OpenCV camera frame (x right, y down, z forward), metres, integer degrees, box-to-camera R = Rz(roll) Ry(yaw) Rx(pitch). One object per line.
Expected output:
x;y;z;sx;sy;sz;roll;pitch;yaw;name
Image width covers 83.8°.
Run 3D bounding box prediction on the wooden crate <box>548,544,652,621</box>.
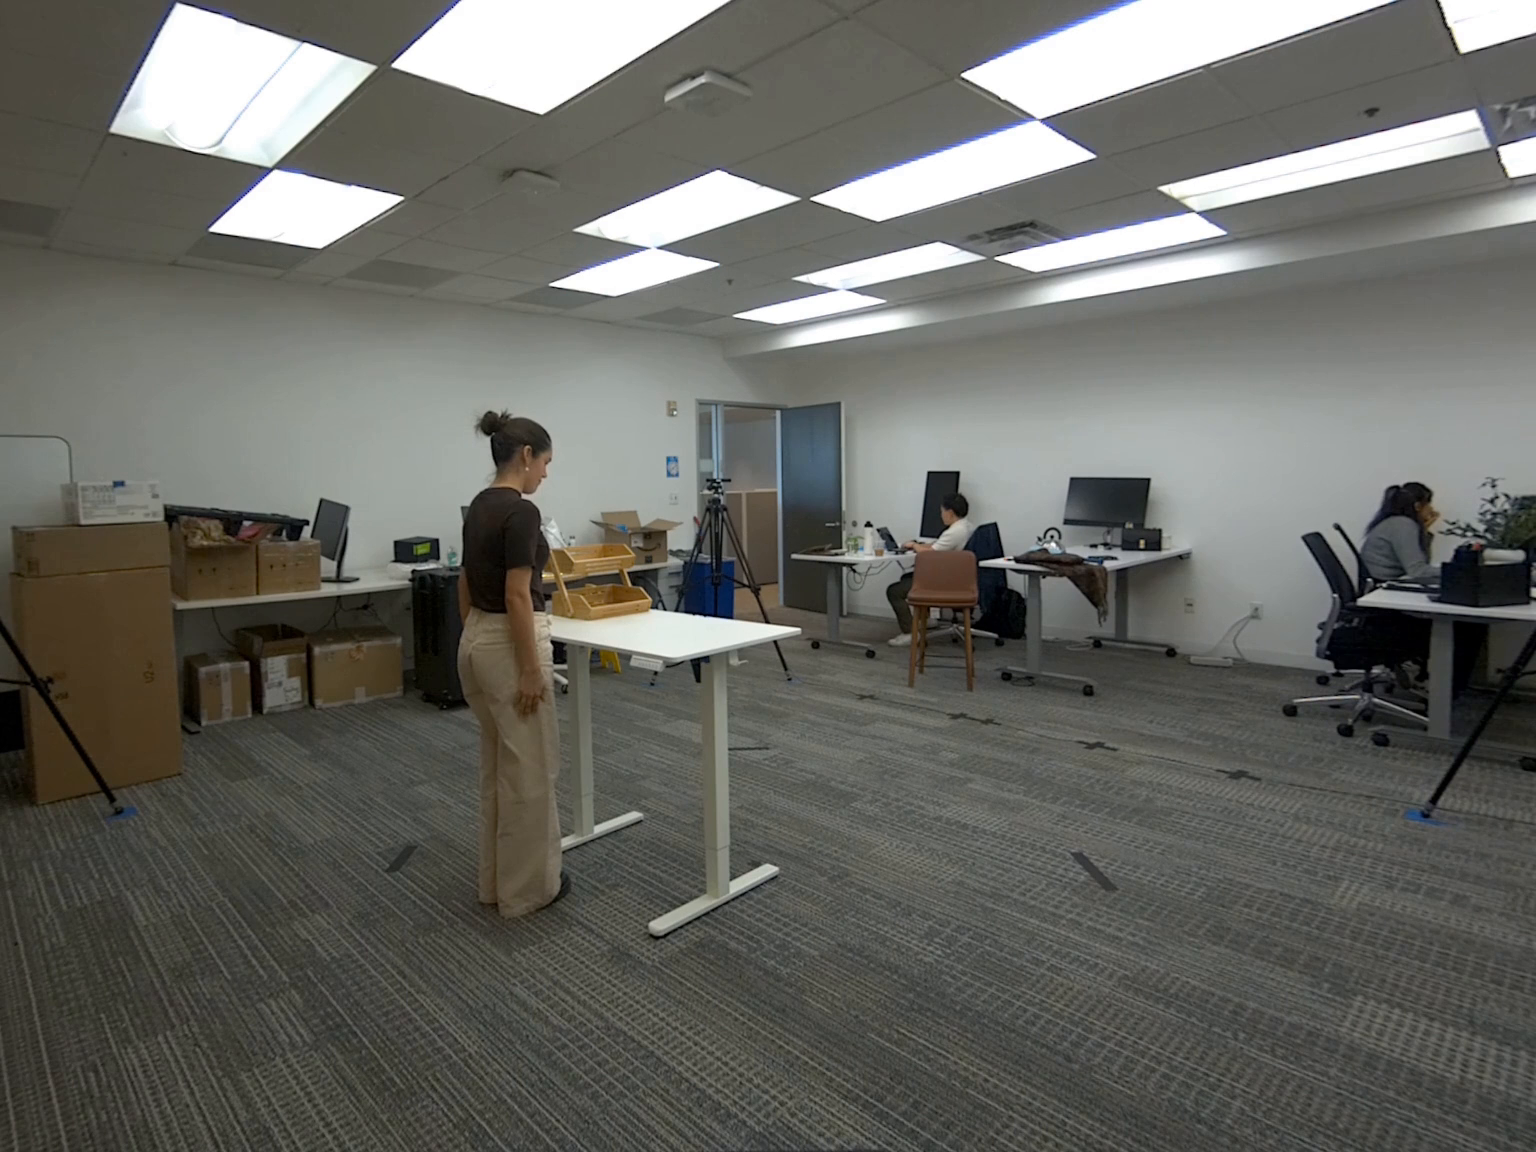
-0.668;0.013;3.368;0.311;0.272;0.316;2;6;43;wooden crate
